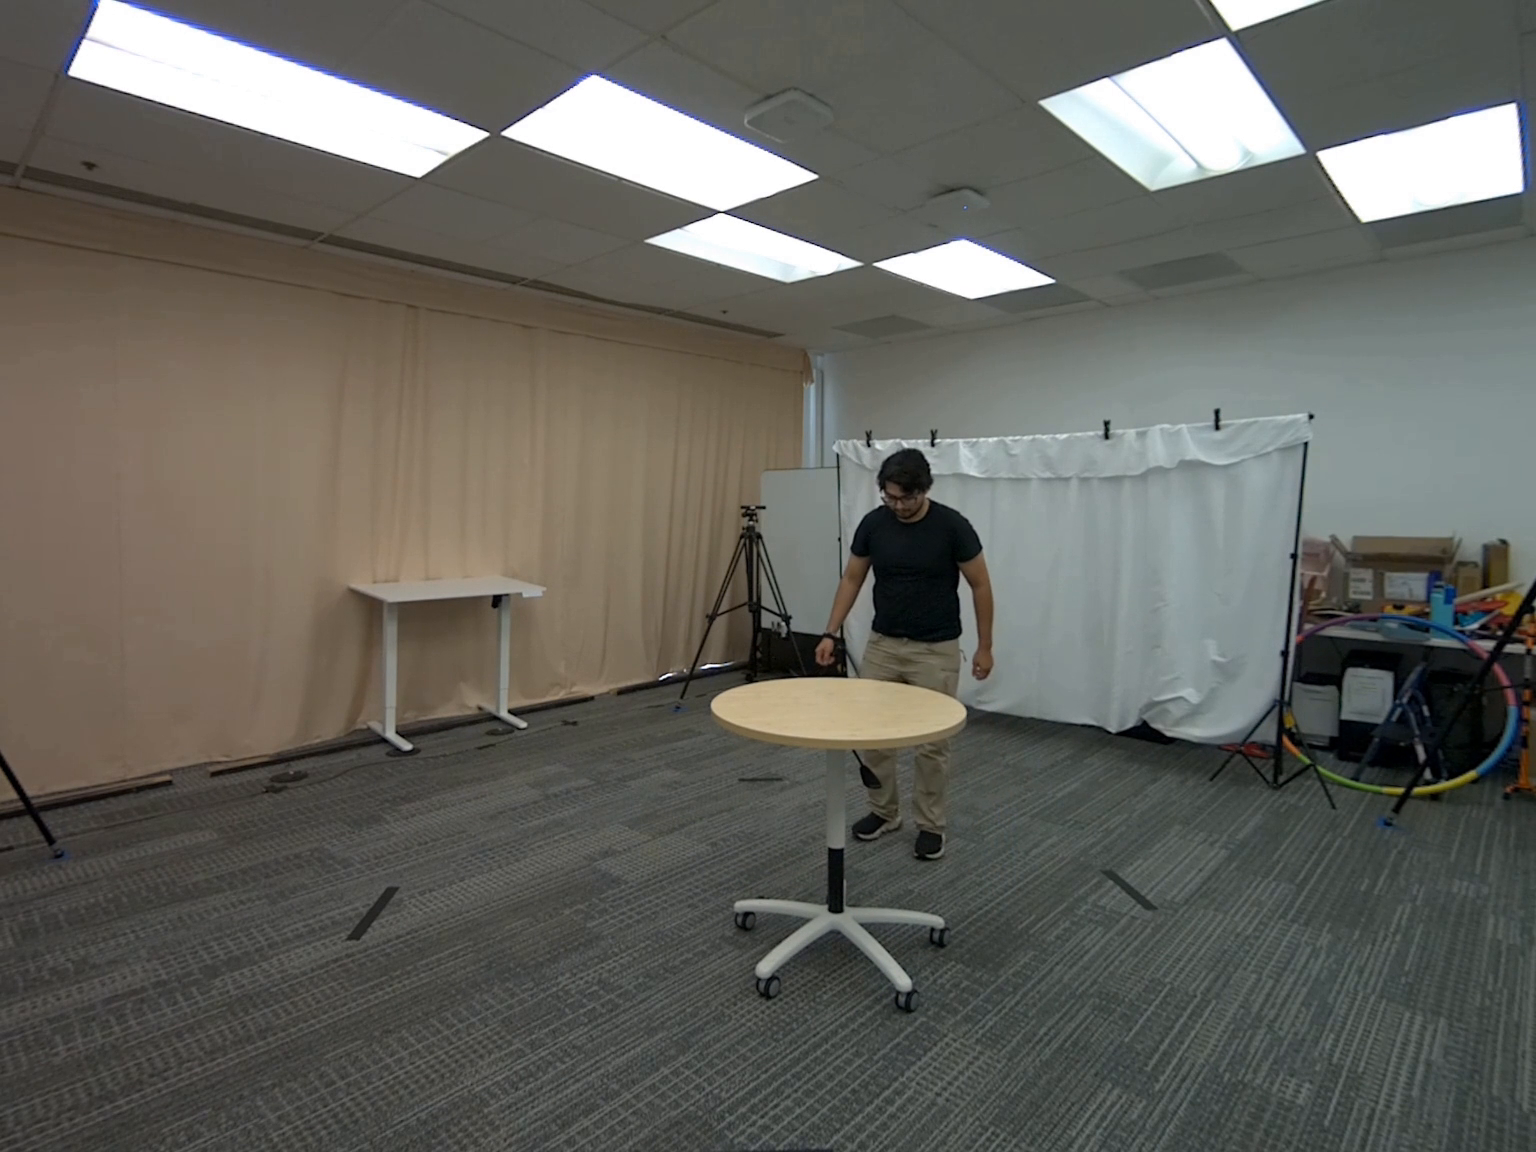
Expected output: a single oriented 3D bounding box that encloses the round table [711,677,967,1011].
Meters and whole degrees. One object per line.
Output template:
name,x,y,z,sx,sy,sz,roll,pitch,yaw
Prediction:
round table,0.217,0.780,2.606,0.784,0.784,0.788,0,4,-2
